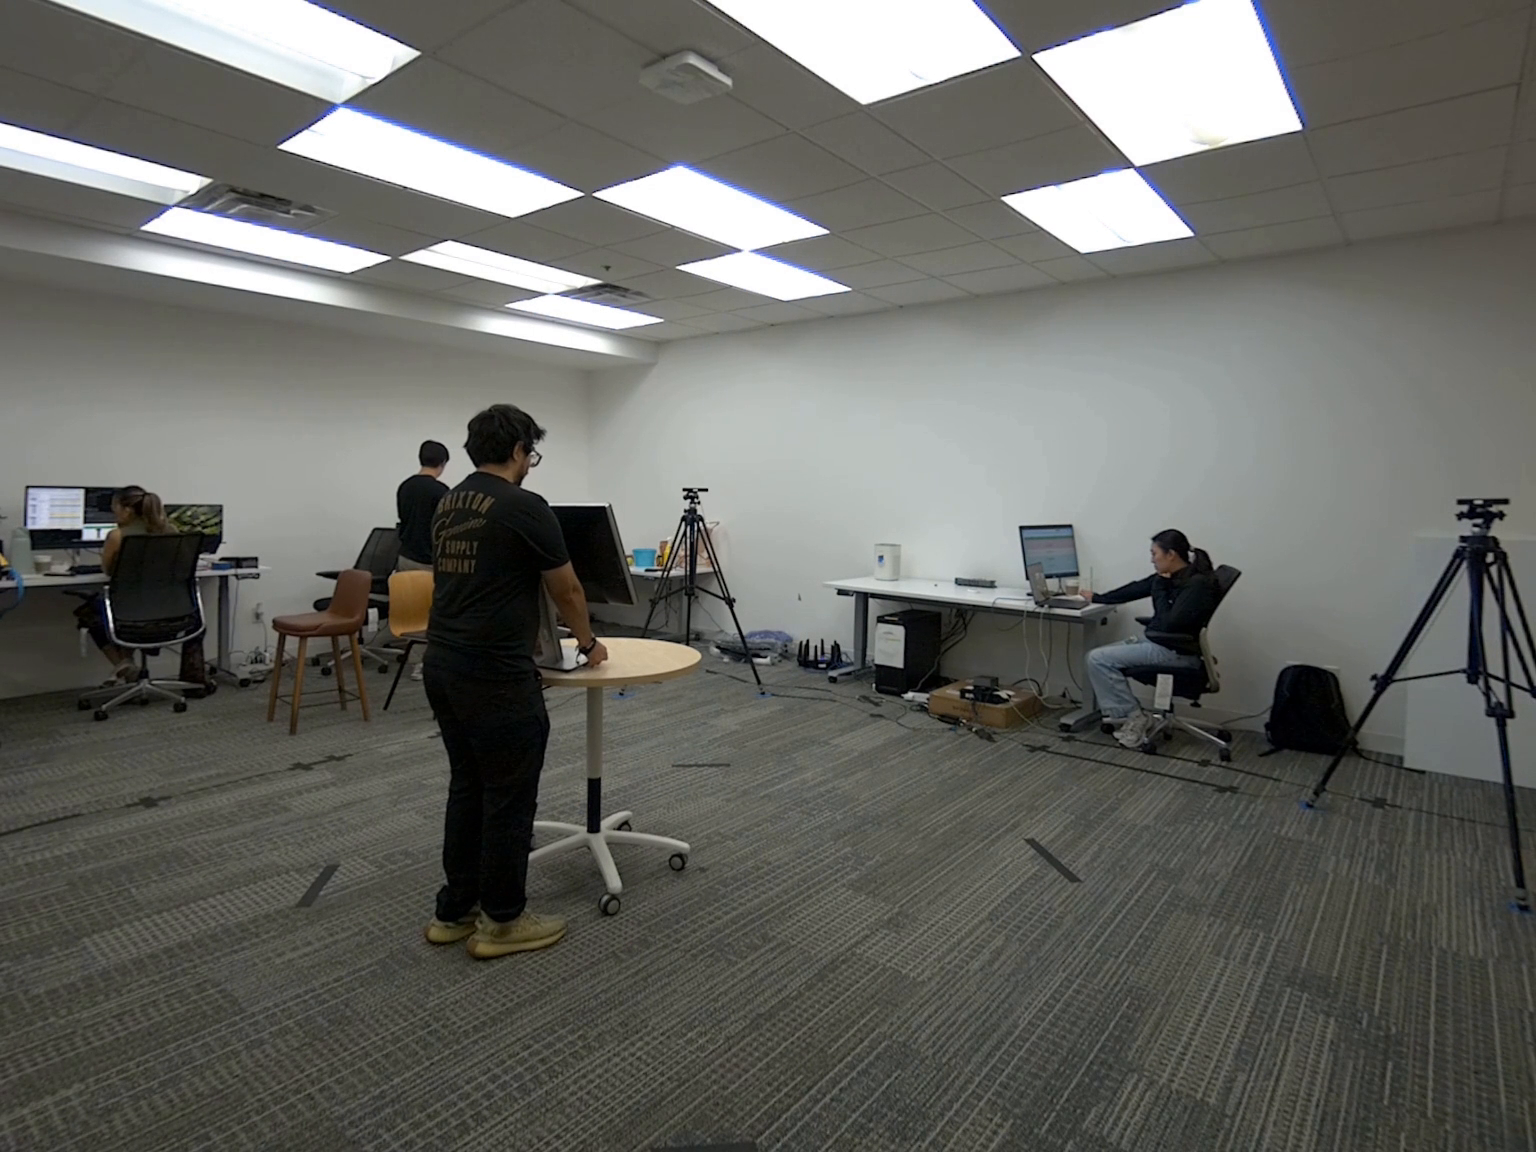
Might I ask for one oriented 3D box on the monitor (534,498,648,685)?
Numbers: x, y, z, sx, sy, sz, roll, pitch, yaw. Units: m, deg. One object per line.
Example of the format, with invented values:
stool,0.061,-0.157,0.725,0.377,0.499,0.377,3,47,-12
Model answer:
monitor,-0.742,0.032,2.838,0.582,0.544,0.208,3,20,32
